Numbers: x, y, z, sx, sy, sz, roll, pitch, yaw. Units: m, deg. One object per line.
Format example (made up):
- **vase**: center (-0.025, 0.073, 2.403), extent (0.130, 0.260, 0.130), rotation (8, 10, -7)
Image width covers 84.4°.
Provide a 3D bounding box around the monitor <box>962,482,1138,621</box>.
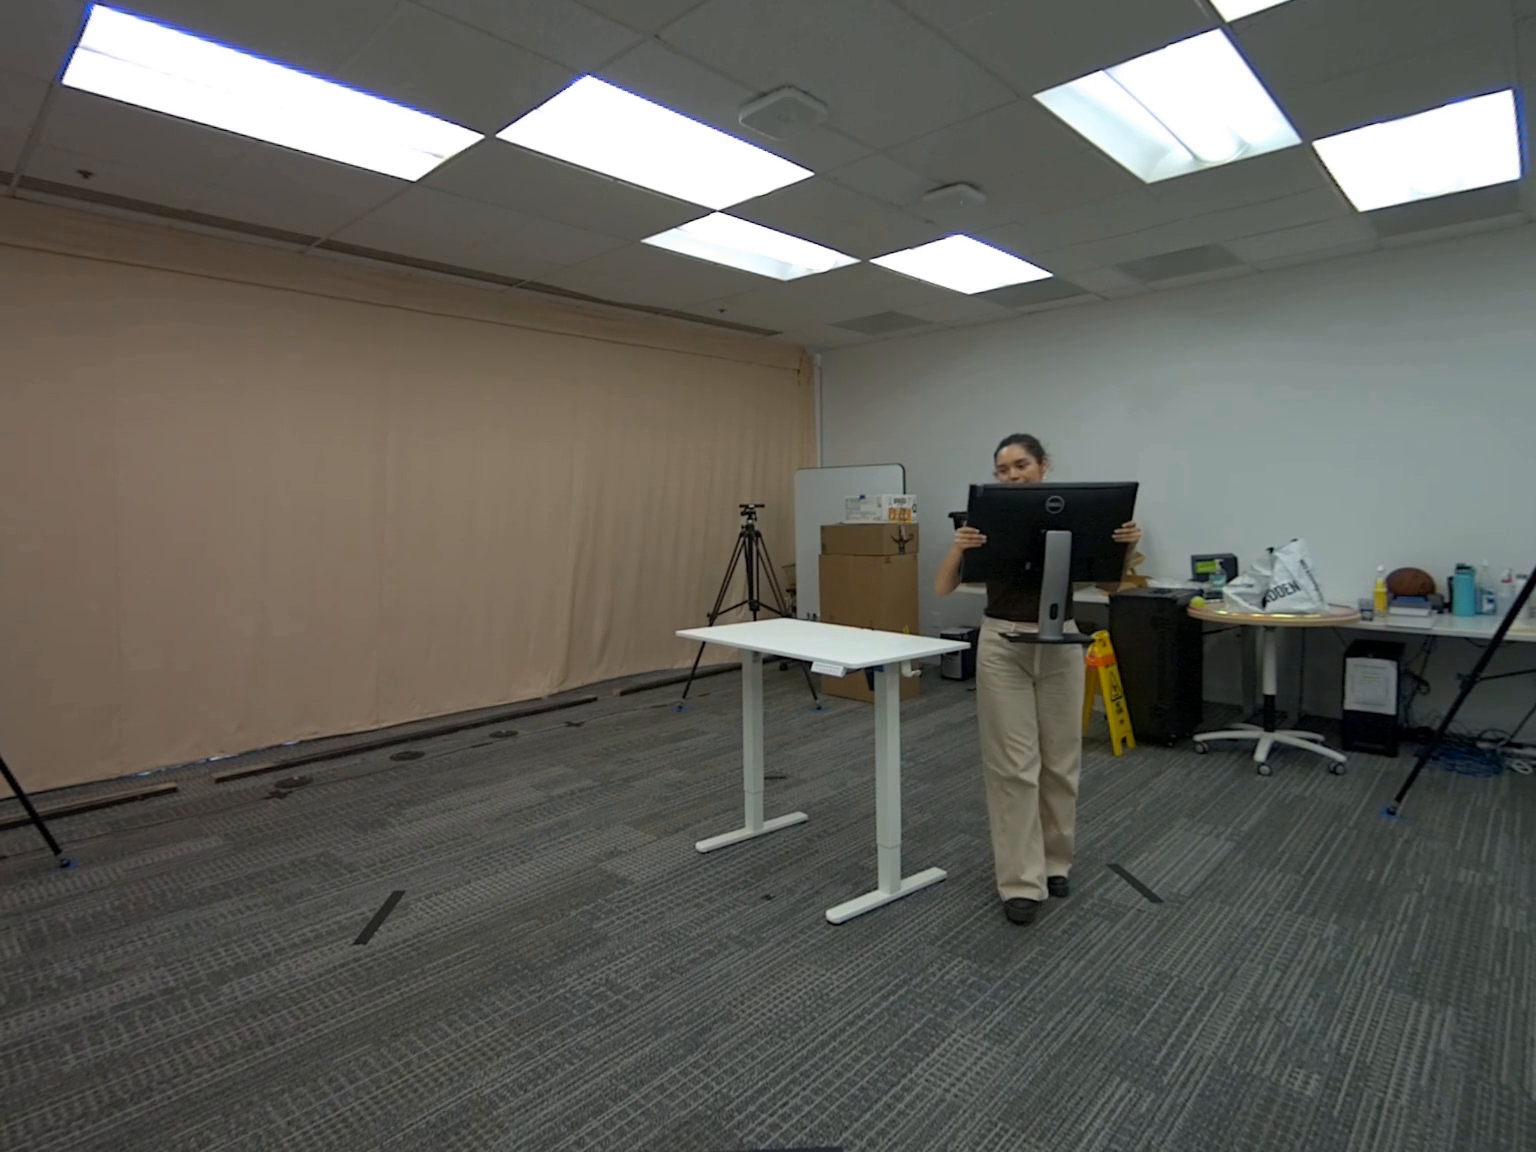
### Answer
- **monitor**: center (0.918, -0.040, 2.743), extent (0.538, 0.520, 0.188), rotation (0, 7, -1)
